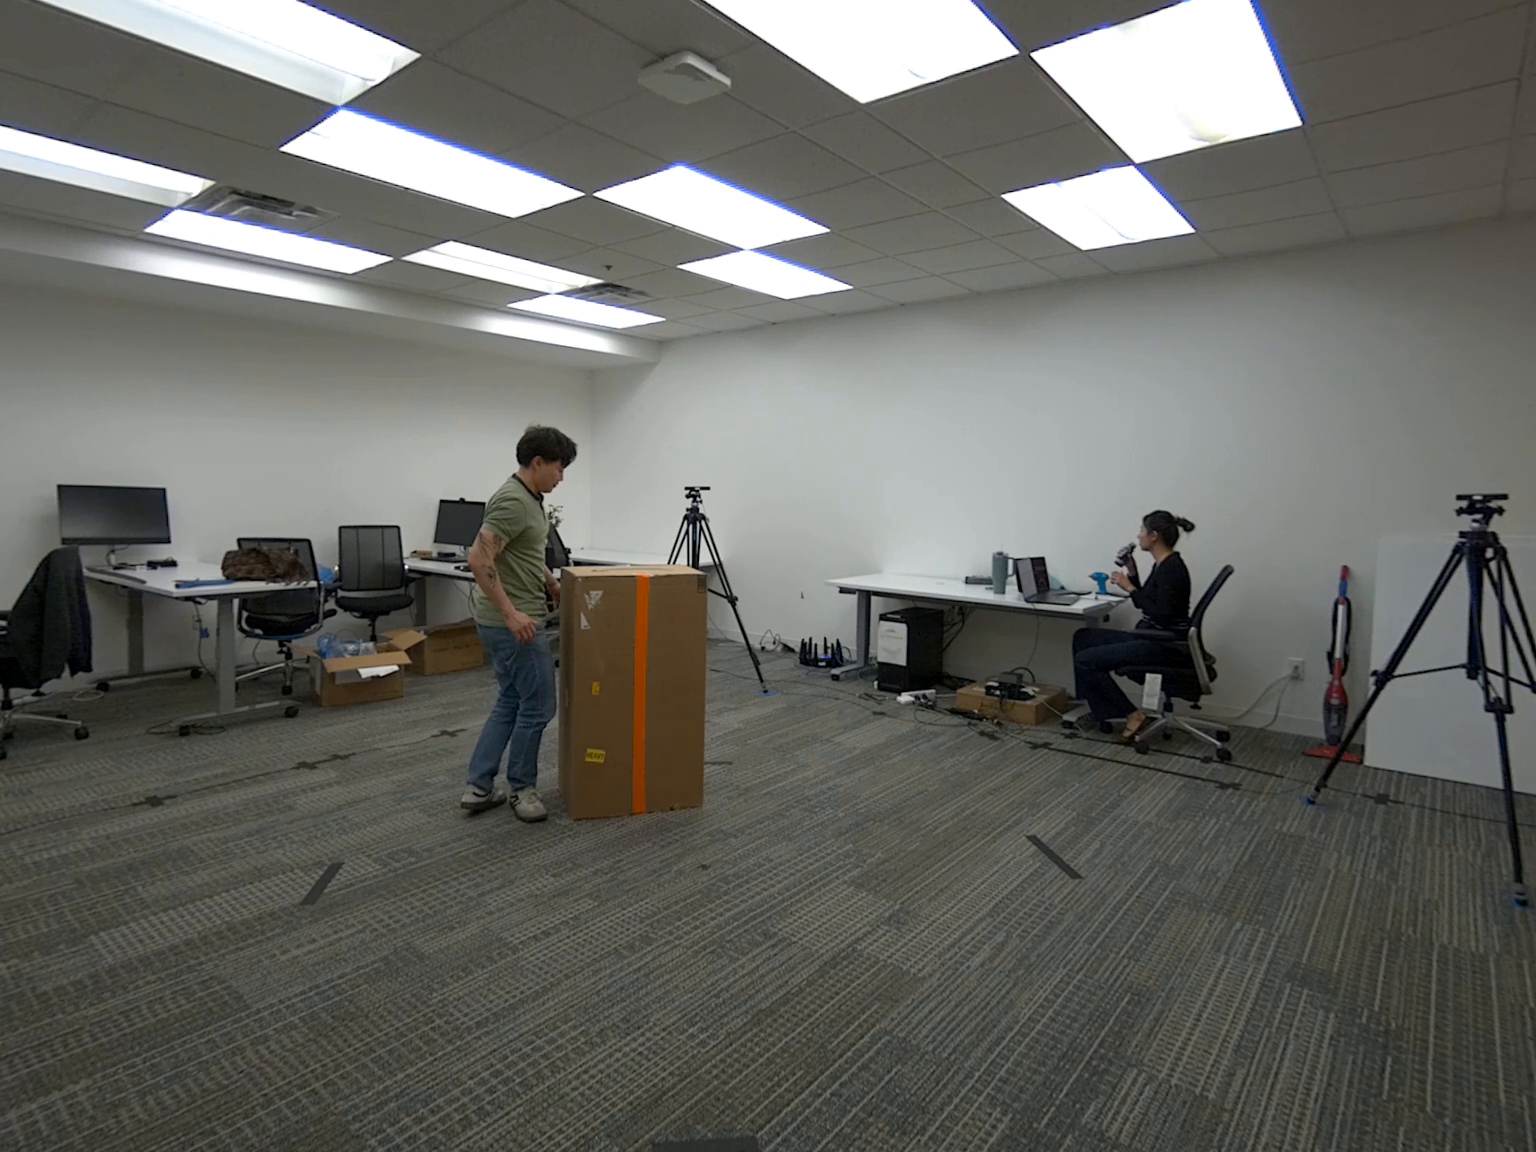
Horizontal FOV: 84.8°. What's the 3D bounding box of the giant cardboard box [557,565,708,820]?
[{"bbox_3d":[-0.623,0.481,3.793,0.566,1.023,0.436,0,3,-20],"label":"giant cardboard box"}]
